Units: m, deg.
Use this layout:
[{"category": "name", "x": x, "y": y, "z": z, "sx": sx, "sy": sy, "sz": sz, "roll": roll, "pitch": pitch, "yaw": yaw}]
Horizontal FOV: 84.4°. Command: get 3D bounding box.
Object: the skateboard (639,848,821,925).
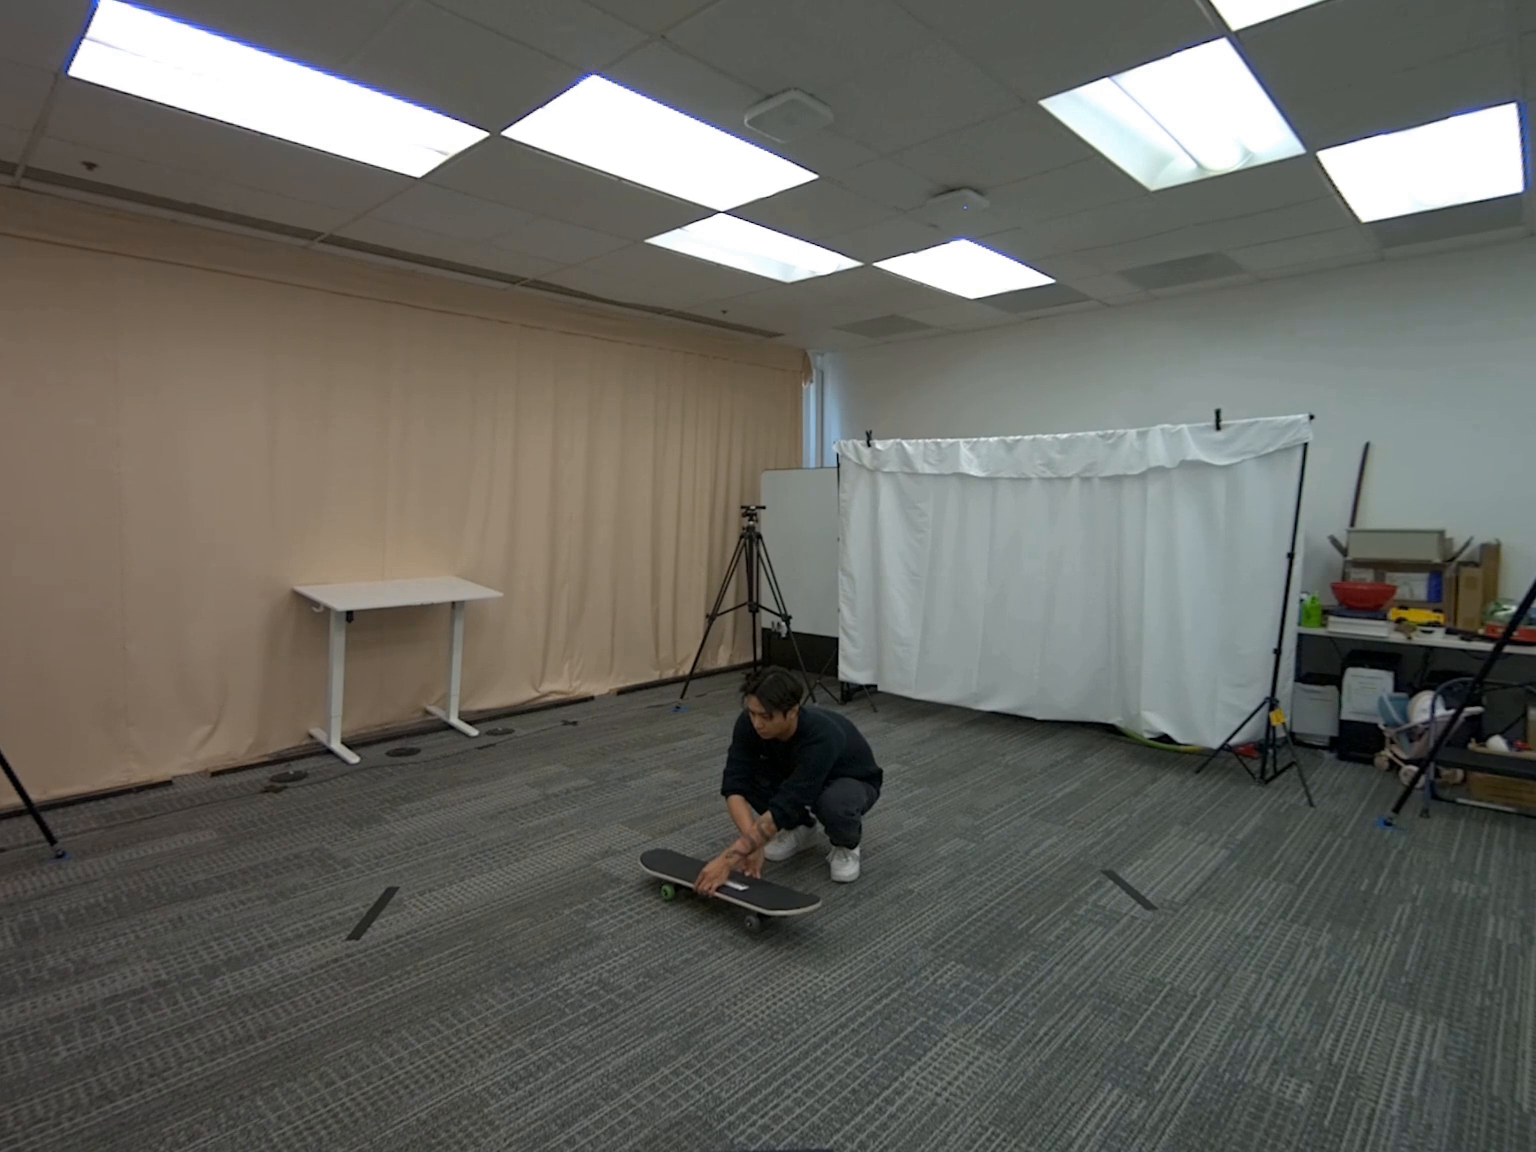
[{"category": "skateboard", "x": -0.145, "y": 1.077, "z": 2.887, "sx": 0.810, "sy": 0.110, "sz": 0.187, "roll": 0, "pitch": 1, "yaw": 42}]
